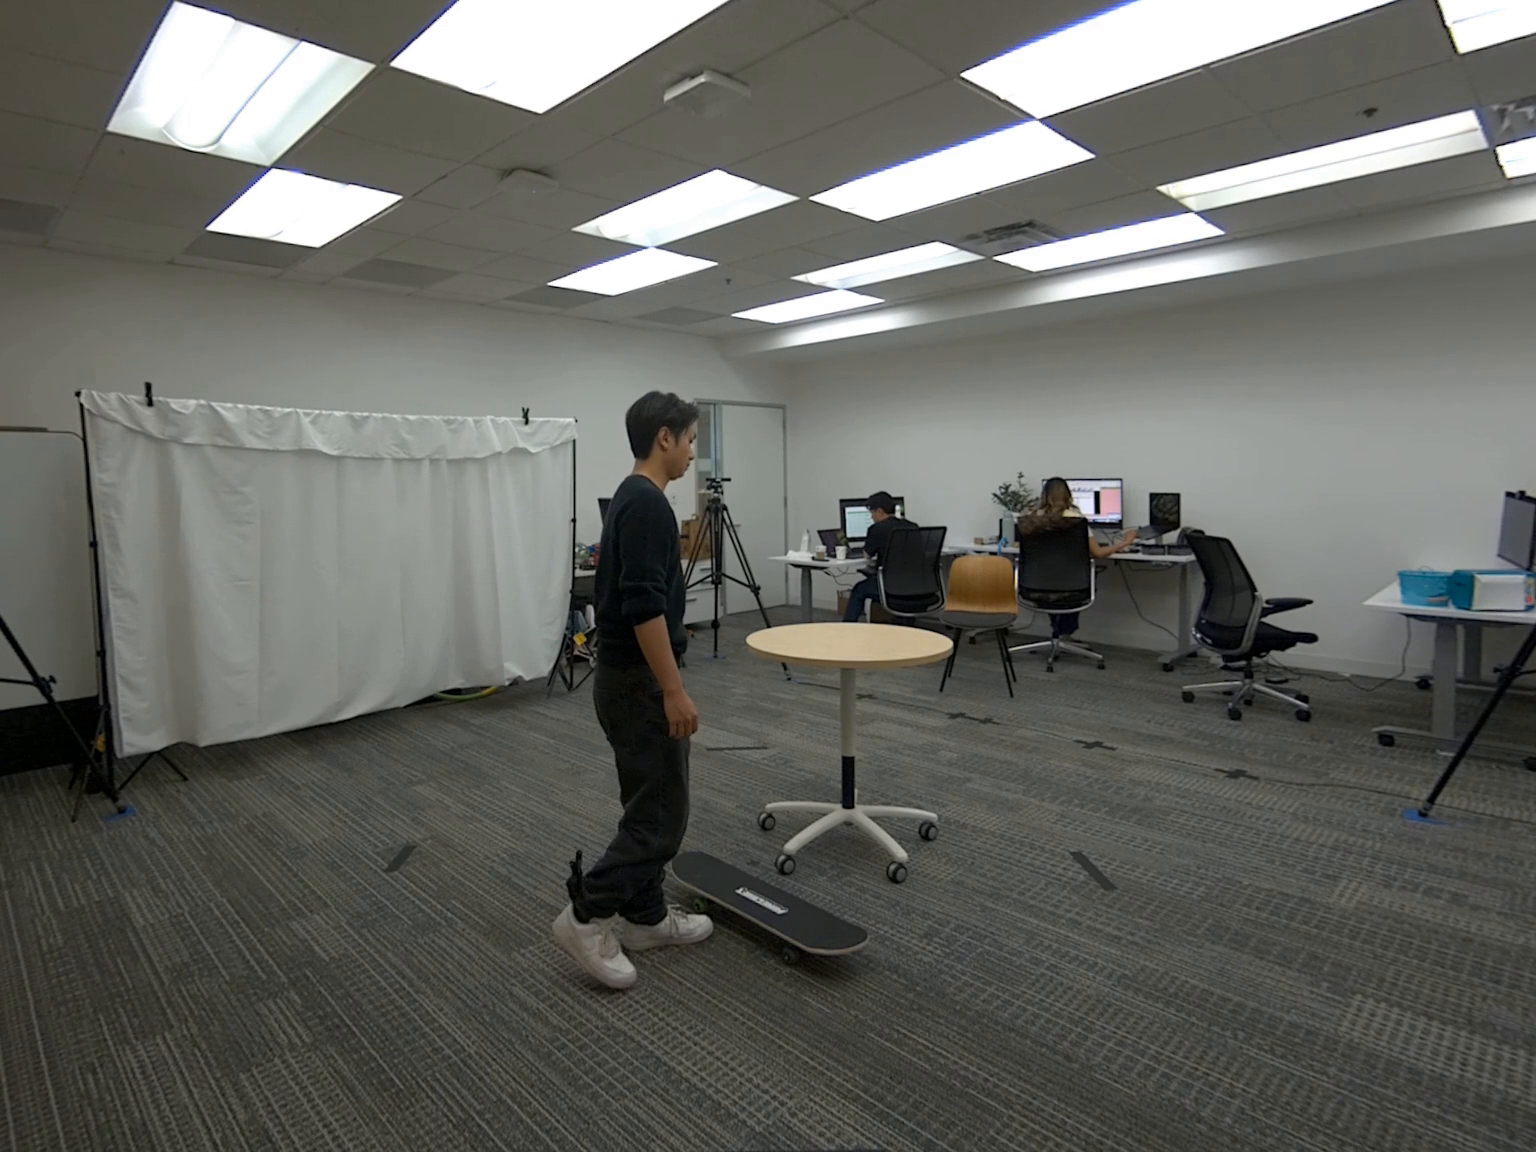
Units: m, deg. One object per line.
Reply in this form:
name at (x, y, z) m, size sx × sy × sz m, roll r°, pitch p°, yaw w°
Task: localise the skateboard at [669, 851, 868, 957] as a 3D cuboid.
skateboard at (-0.016, 1.044, 2.647) m, size 0.188 × 0.110 × 0.810 m, roll -7°, pitch 9°, yaw -43°
